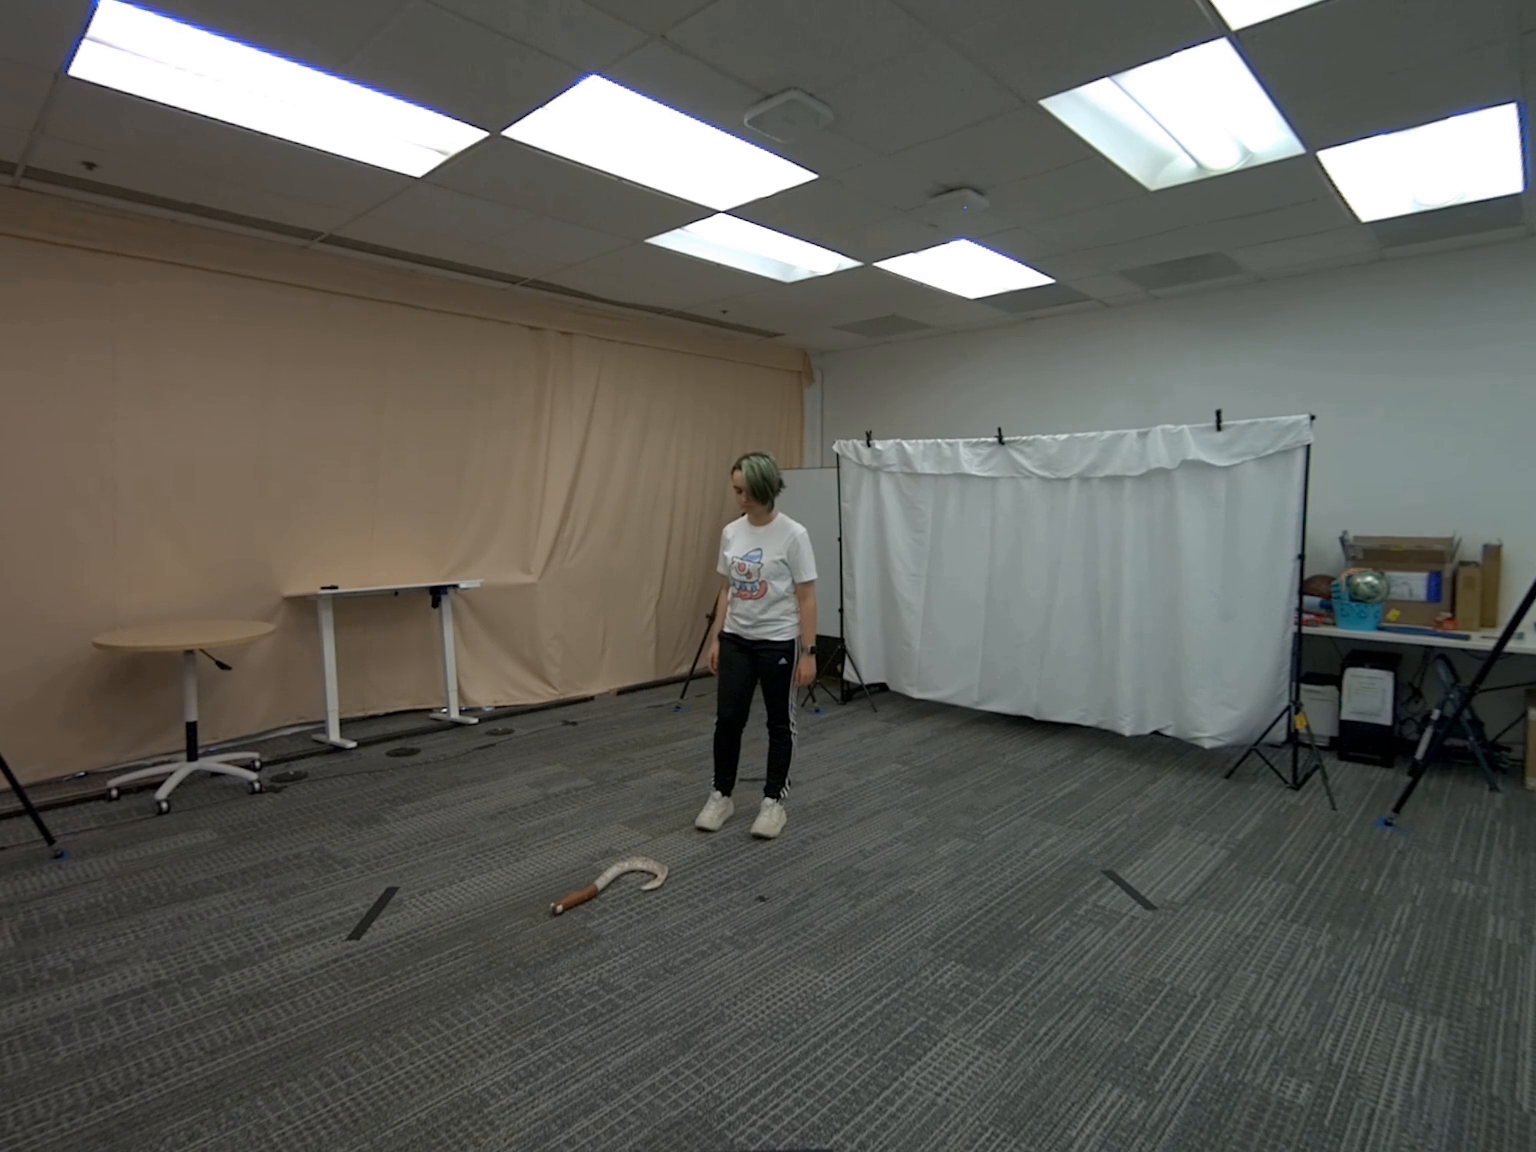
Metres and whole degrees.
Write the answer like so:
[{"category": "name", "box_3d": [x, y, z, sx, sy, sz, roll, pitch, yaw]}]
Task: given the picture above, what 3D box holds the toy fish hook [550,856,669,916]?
[{"category": "toy fish hook", "box_3d": [-0.556, 1.122, 3.035, 0.231, 0.048, 0.492, 0, 5, 33]}]
